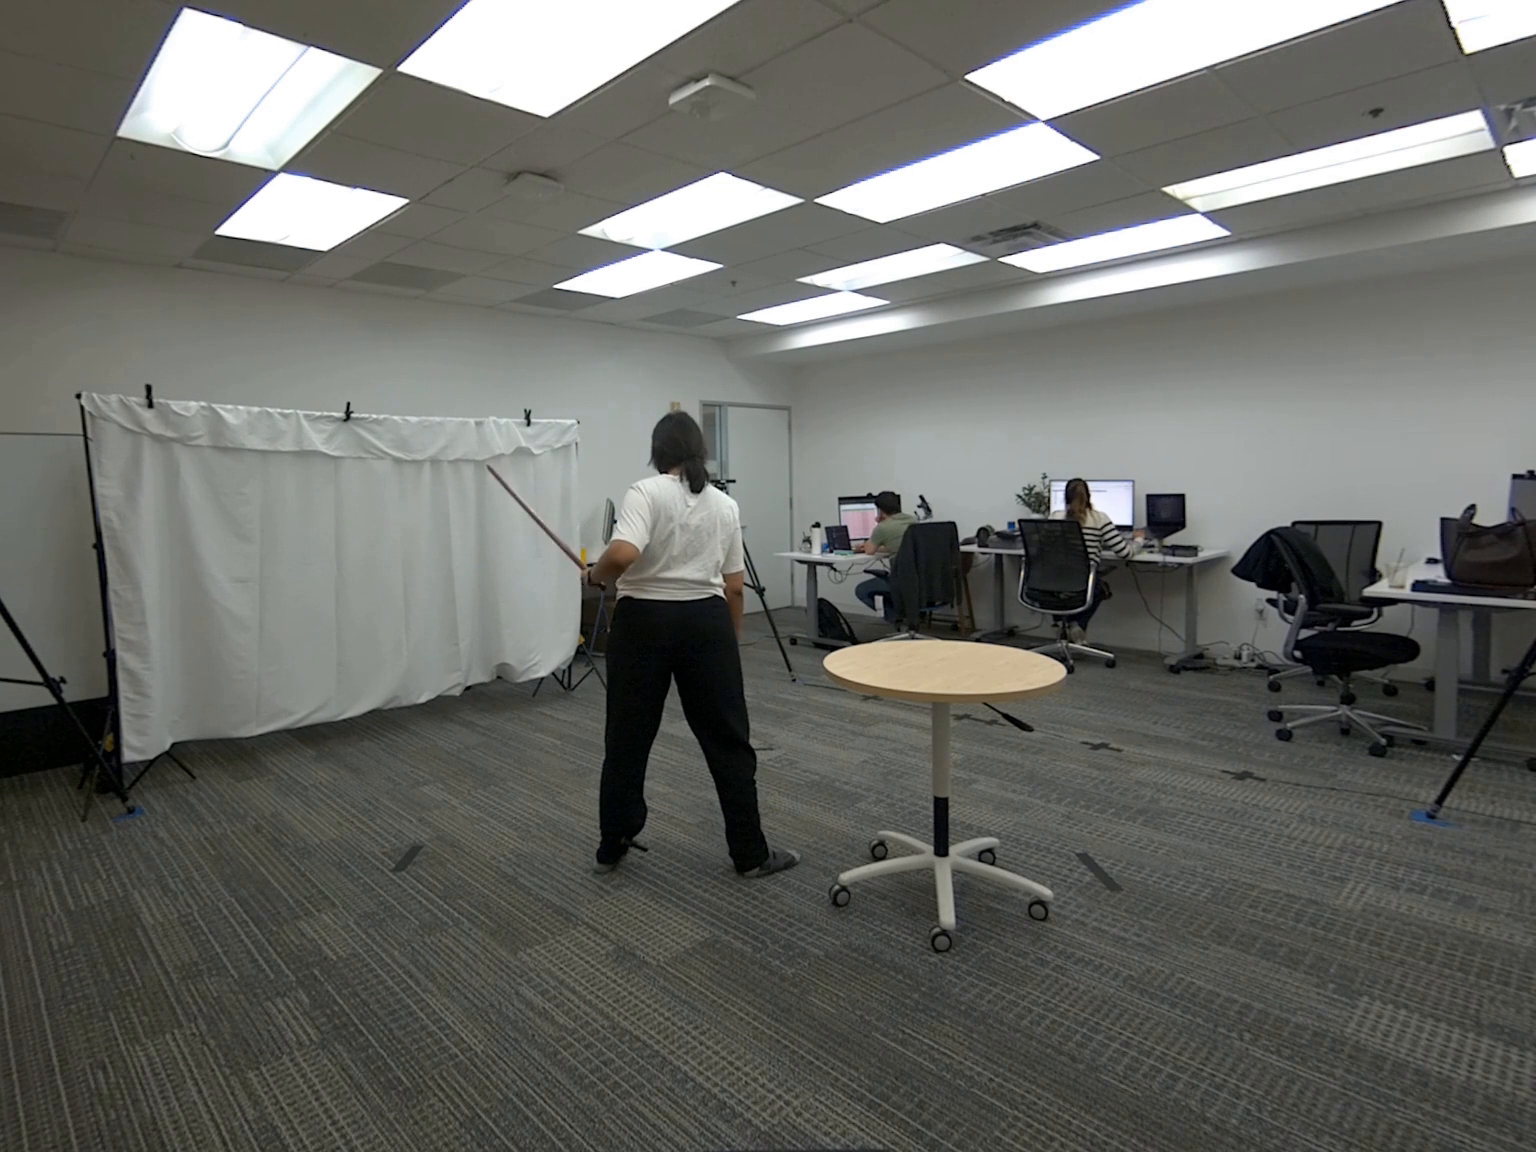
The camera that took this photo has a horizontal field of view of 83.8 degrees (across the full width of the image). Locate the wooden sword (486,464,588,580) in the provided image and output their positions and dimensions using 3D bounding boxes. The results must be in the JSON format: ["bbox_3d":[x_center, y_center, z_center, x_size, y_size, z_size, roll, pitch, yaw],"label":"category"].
[{"bbox_3d":[-0.884,-0.209,3.369,0.050,0.024,1.066,6,27,-44],"label":"wooden sword"}]
